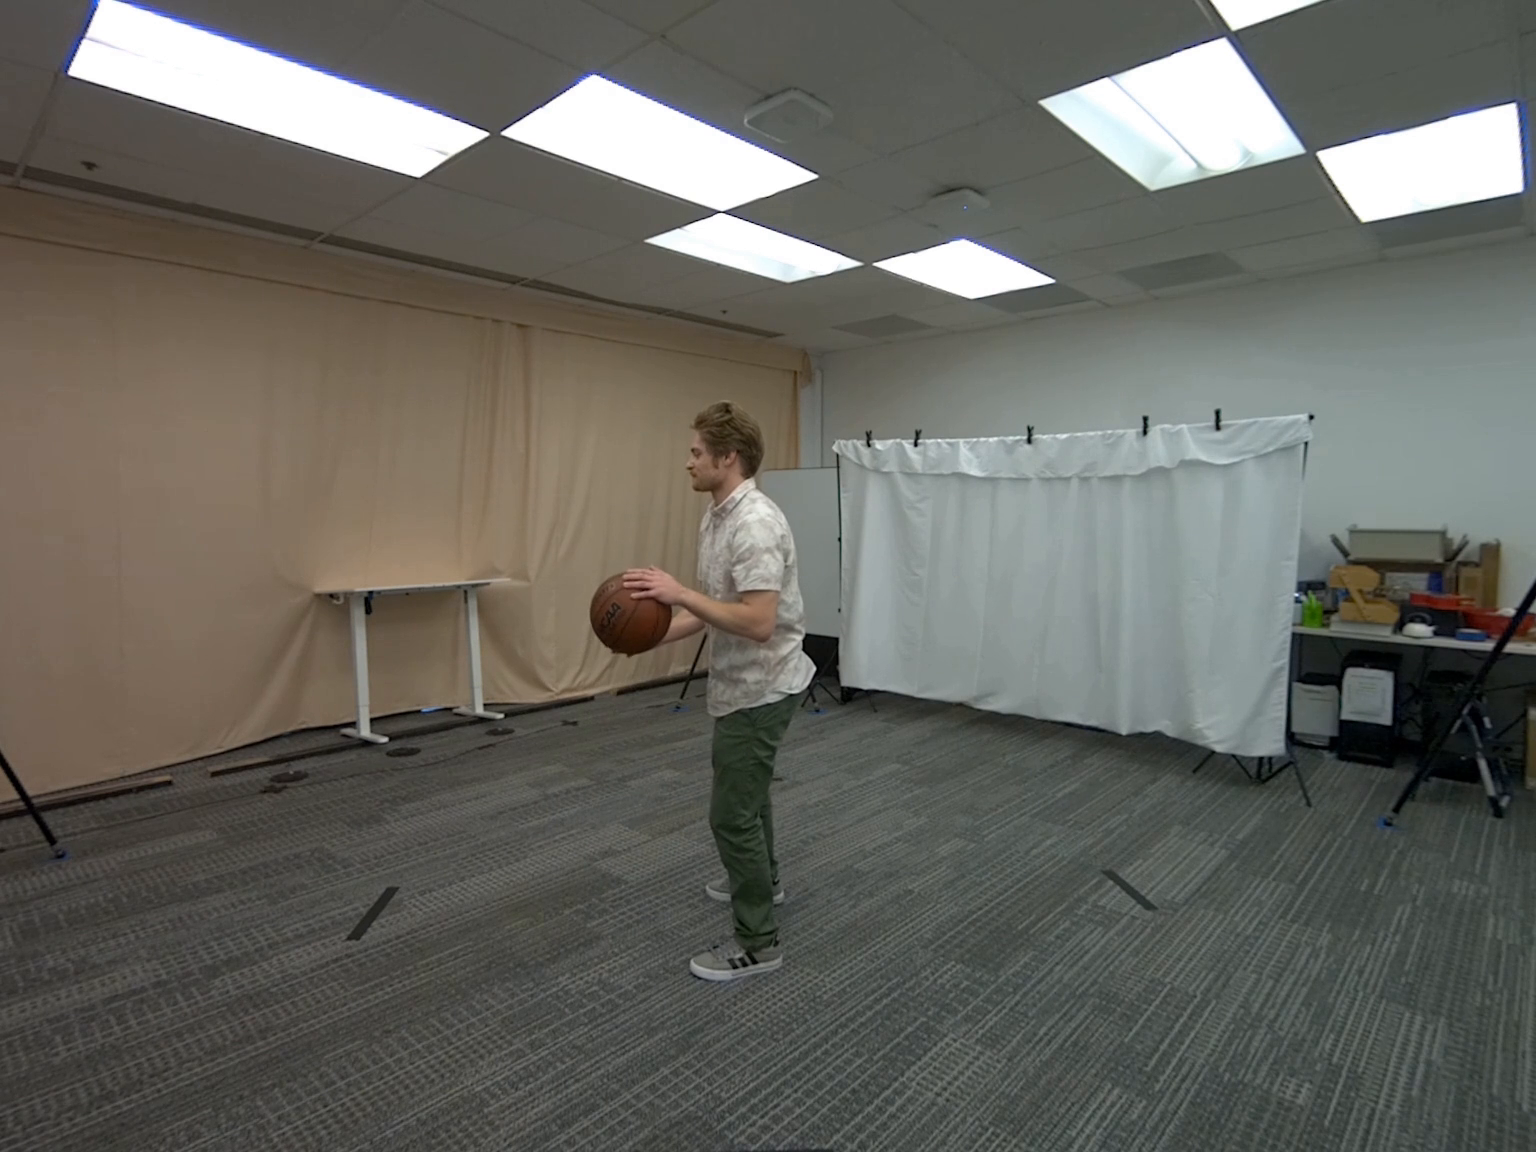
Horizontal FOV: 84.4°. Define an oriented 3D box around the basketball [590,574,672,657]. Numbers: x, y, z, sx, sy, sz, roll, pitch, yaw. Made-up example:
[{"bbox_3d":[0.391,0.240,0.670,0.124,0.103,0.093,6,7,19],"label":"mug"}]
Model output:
[{"bbox_3d":[-0.392,0.113,2.451,0.236,0.235,0.237,0,4,-2],"label":"basketball"}]
